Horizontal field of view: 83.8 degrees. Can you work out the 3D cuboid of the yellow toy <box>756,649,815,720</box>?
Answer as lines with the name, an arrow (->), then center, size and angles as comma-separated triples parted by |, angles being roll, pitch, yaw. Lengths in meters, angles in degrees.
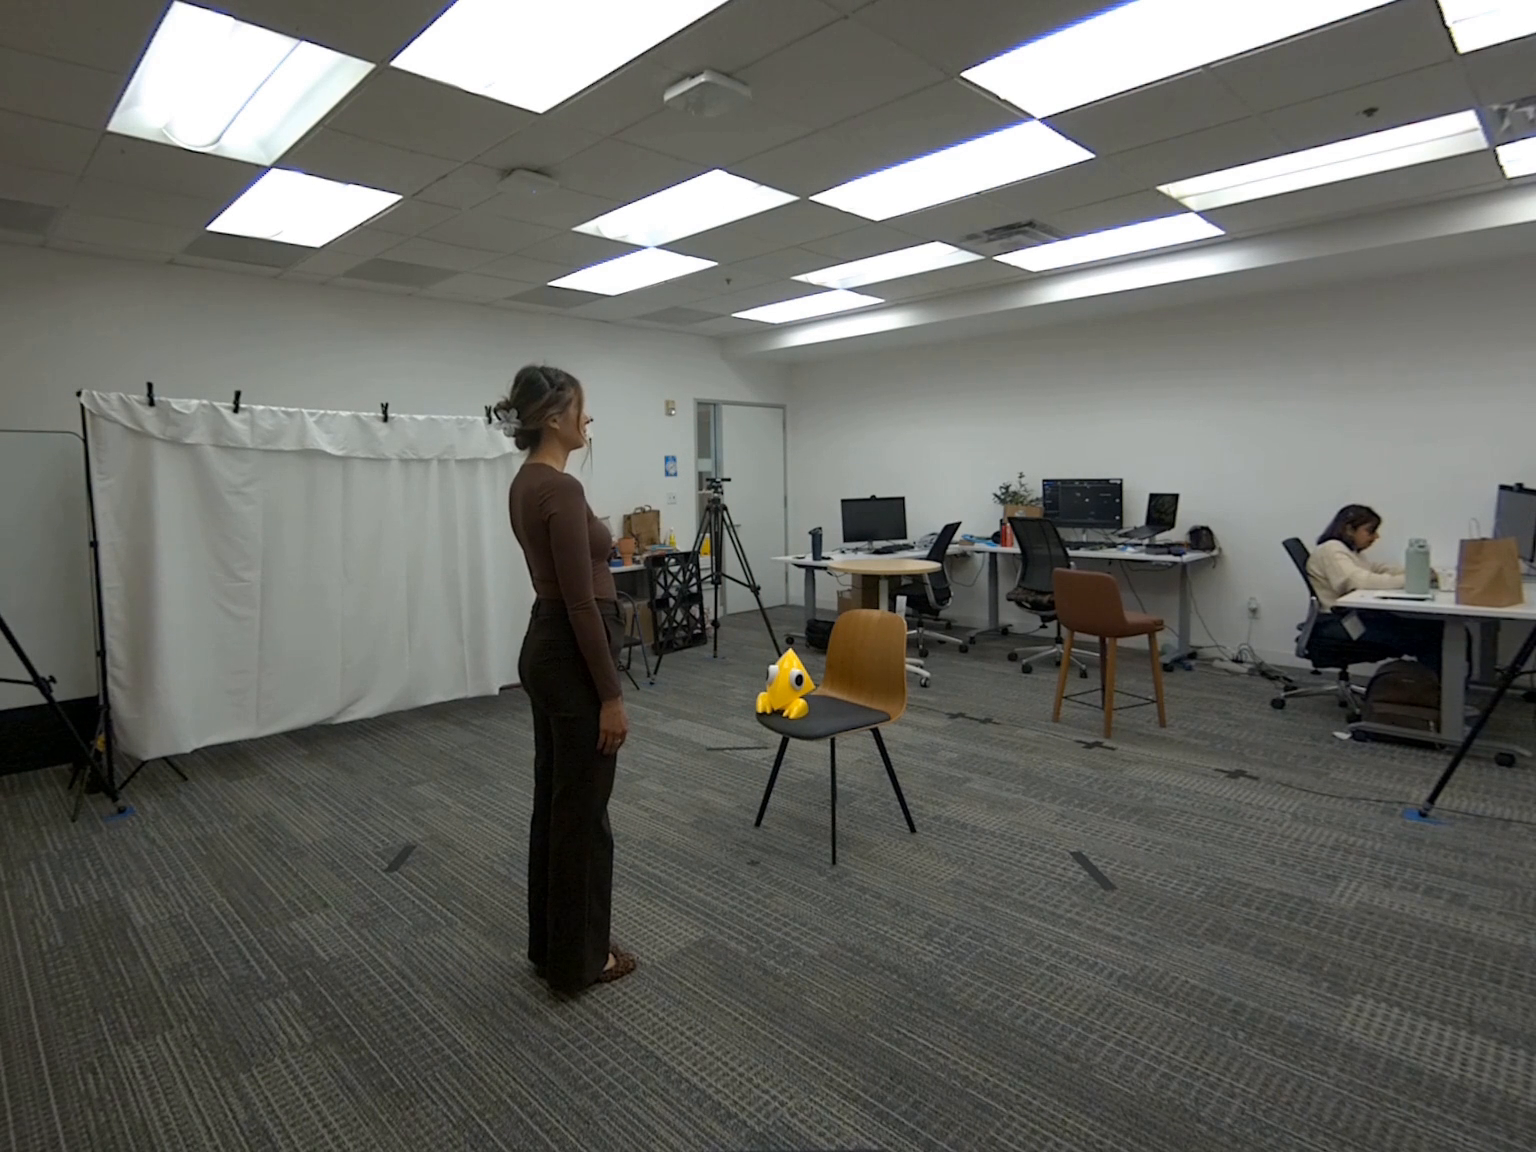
yellow toy -> 0.063, 0.413, 3.344 | 0.209, 0.229, 0.190 | 6, 8, 21
